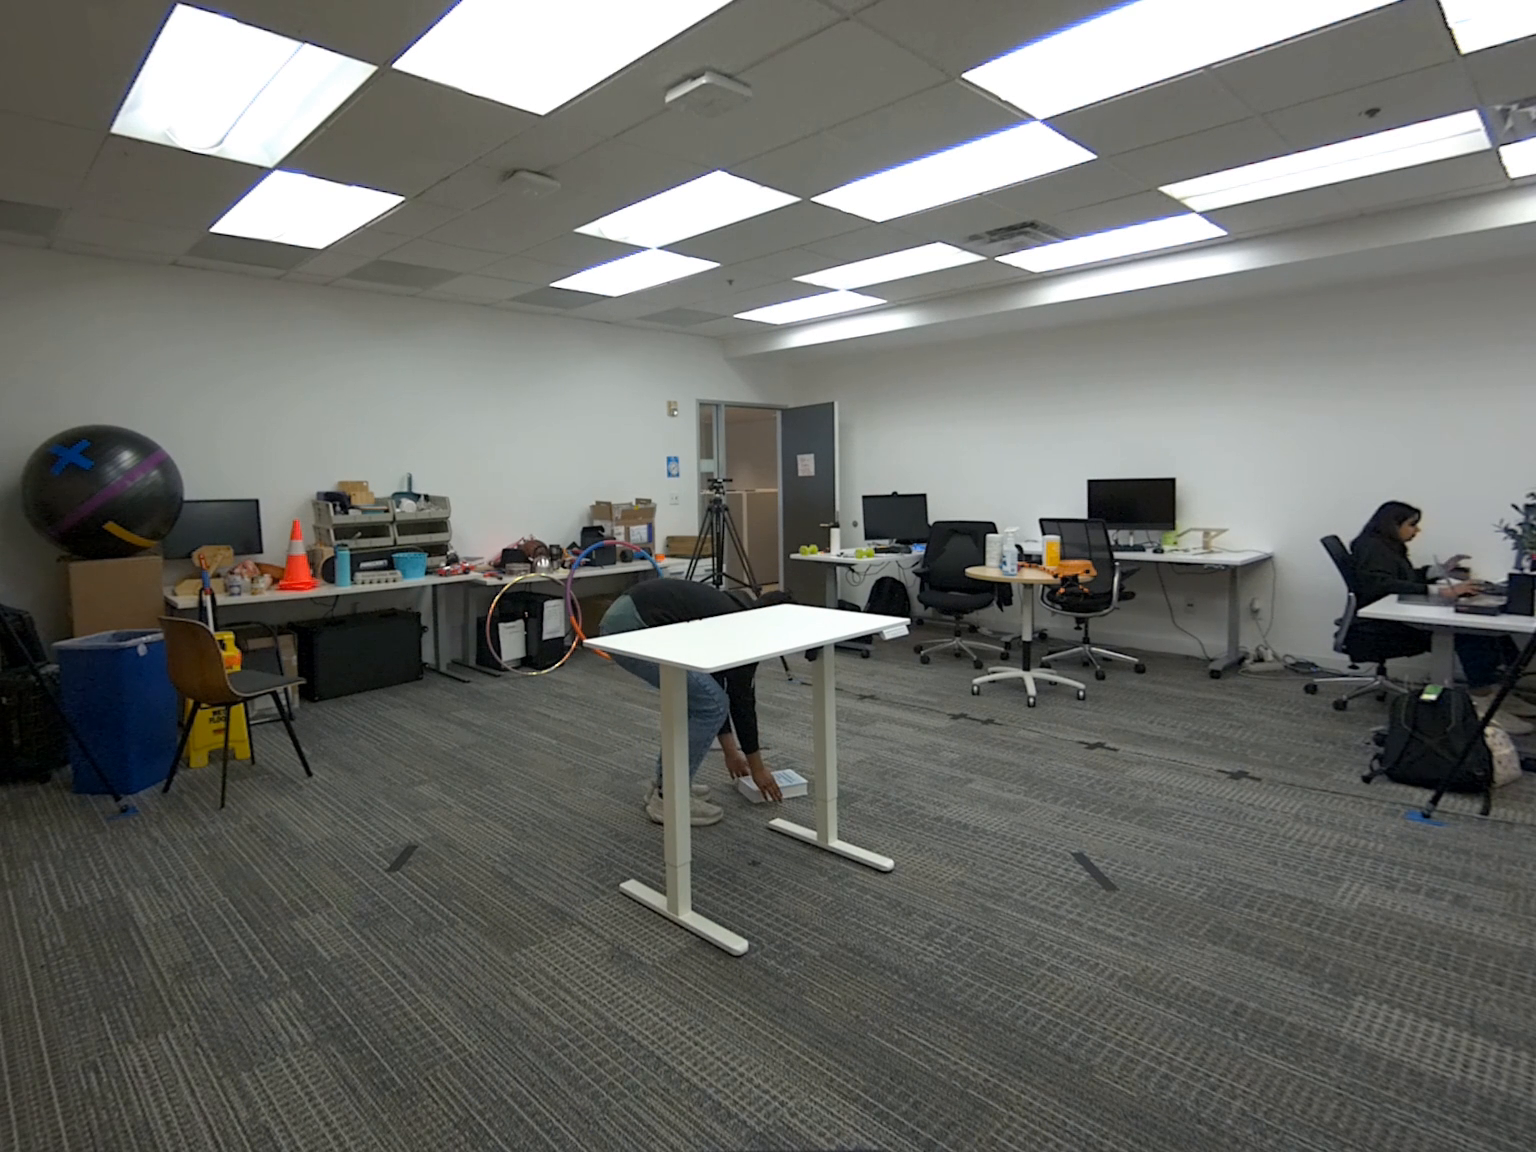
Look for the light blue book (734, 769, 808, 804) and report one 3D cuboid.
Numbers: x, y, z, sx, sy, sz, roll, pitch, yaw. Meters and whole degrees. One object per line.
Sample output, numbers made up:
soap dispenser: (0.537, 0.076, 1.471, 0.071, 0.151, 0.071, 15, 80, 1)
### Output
light blue book: (0.018, 0.931, 3.804, 0.256, 0.059, 0.196, -4, 7, -23)
